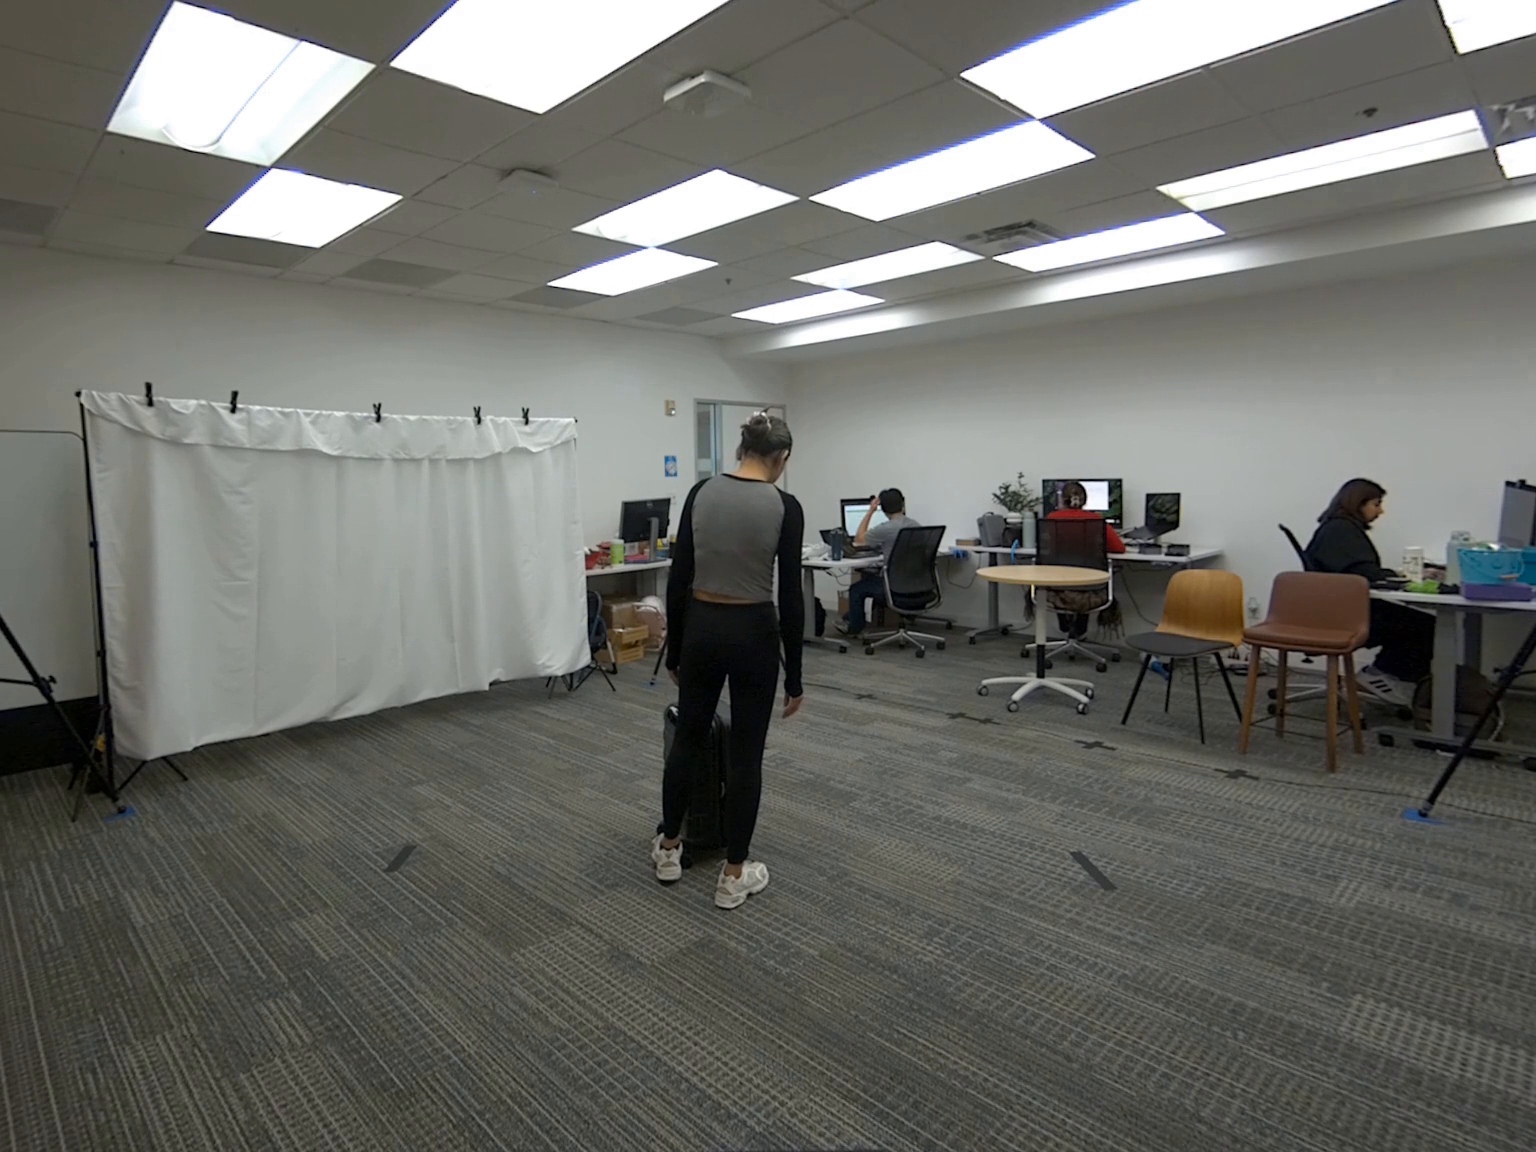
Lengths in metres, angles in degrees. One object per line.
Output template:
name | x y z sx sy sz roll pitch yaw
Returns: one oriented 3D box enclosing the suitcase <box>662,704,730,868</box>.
suitcase | -0.236 0.751 3.243 0.244 0.547 0.383 -2 5 -20
